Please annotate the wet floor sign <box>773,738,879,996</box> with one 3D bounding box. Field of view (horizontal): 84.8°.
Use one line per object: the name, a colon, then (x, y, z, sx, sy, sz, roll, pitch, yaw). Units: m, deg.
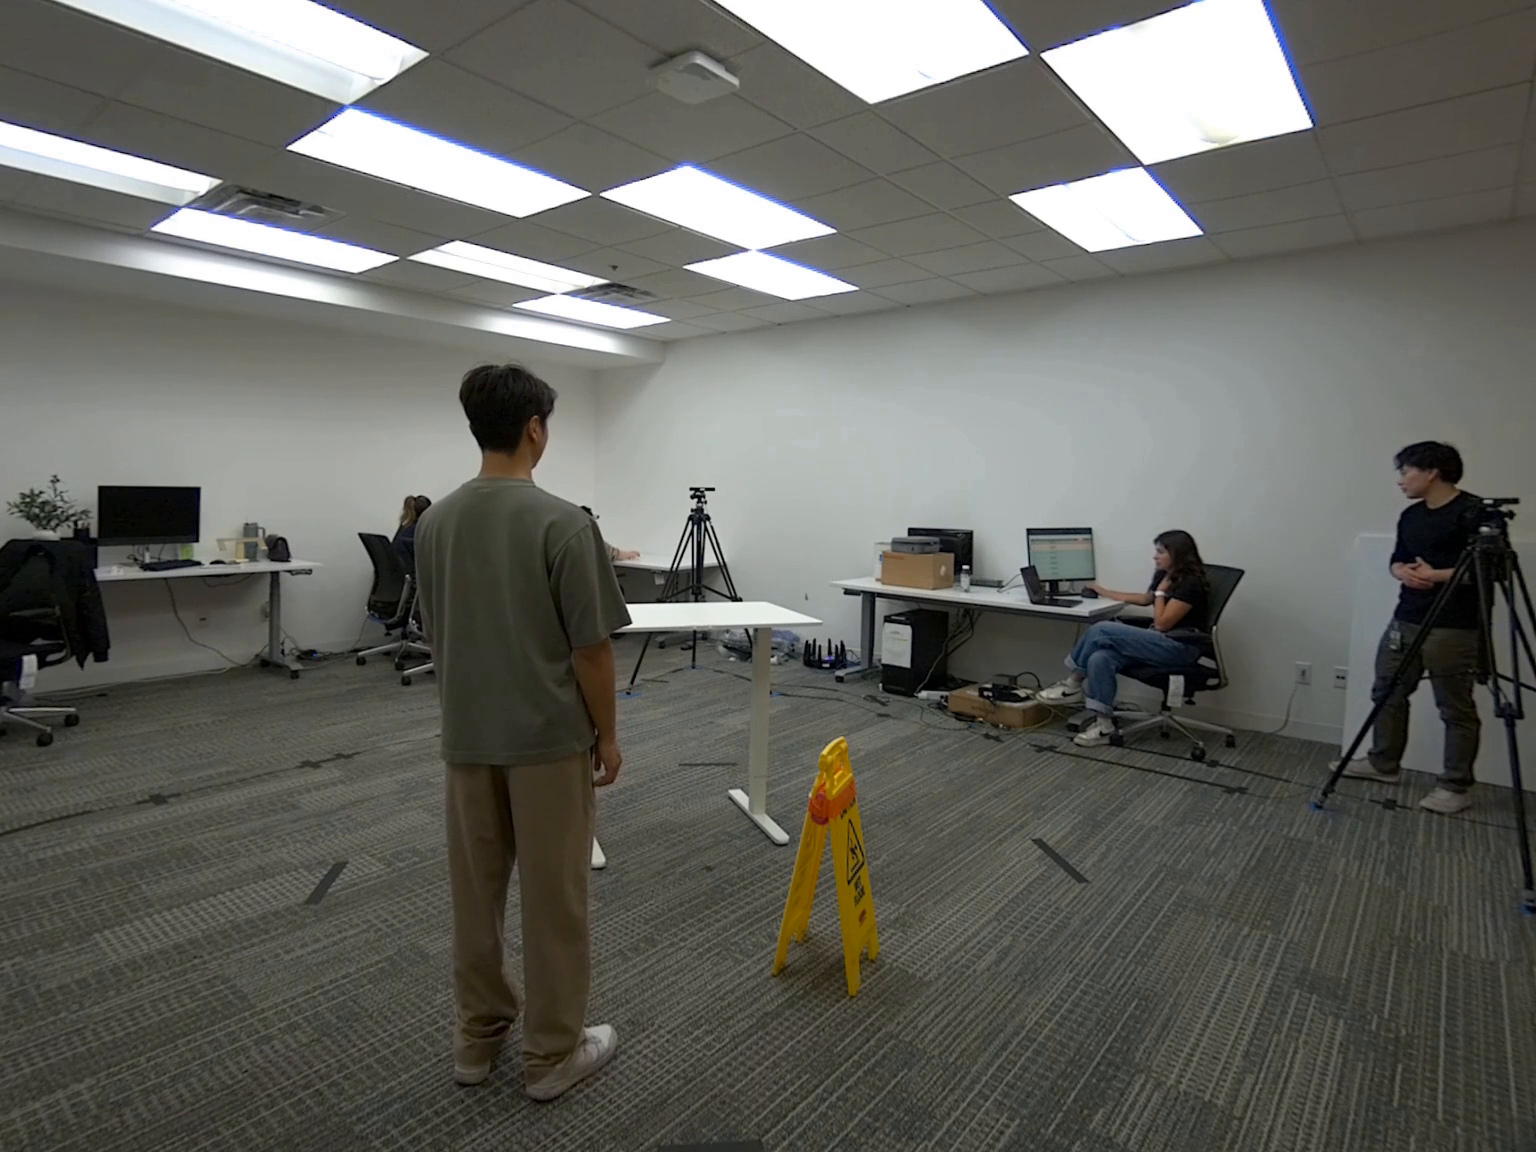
wet floor sign: (0.179, 0.814, 2.486, 0.296, 0.644, 0.277, 3, 4, 21)
